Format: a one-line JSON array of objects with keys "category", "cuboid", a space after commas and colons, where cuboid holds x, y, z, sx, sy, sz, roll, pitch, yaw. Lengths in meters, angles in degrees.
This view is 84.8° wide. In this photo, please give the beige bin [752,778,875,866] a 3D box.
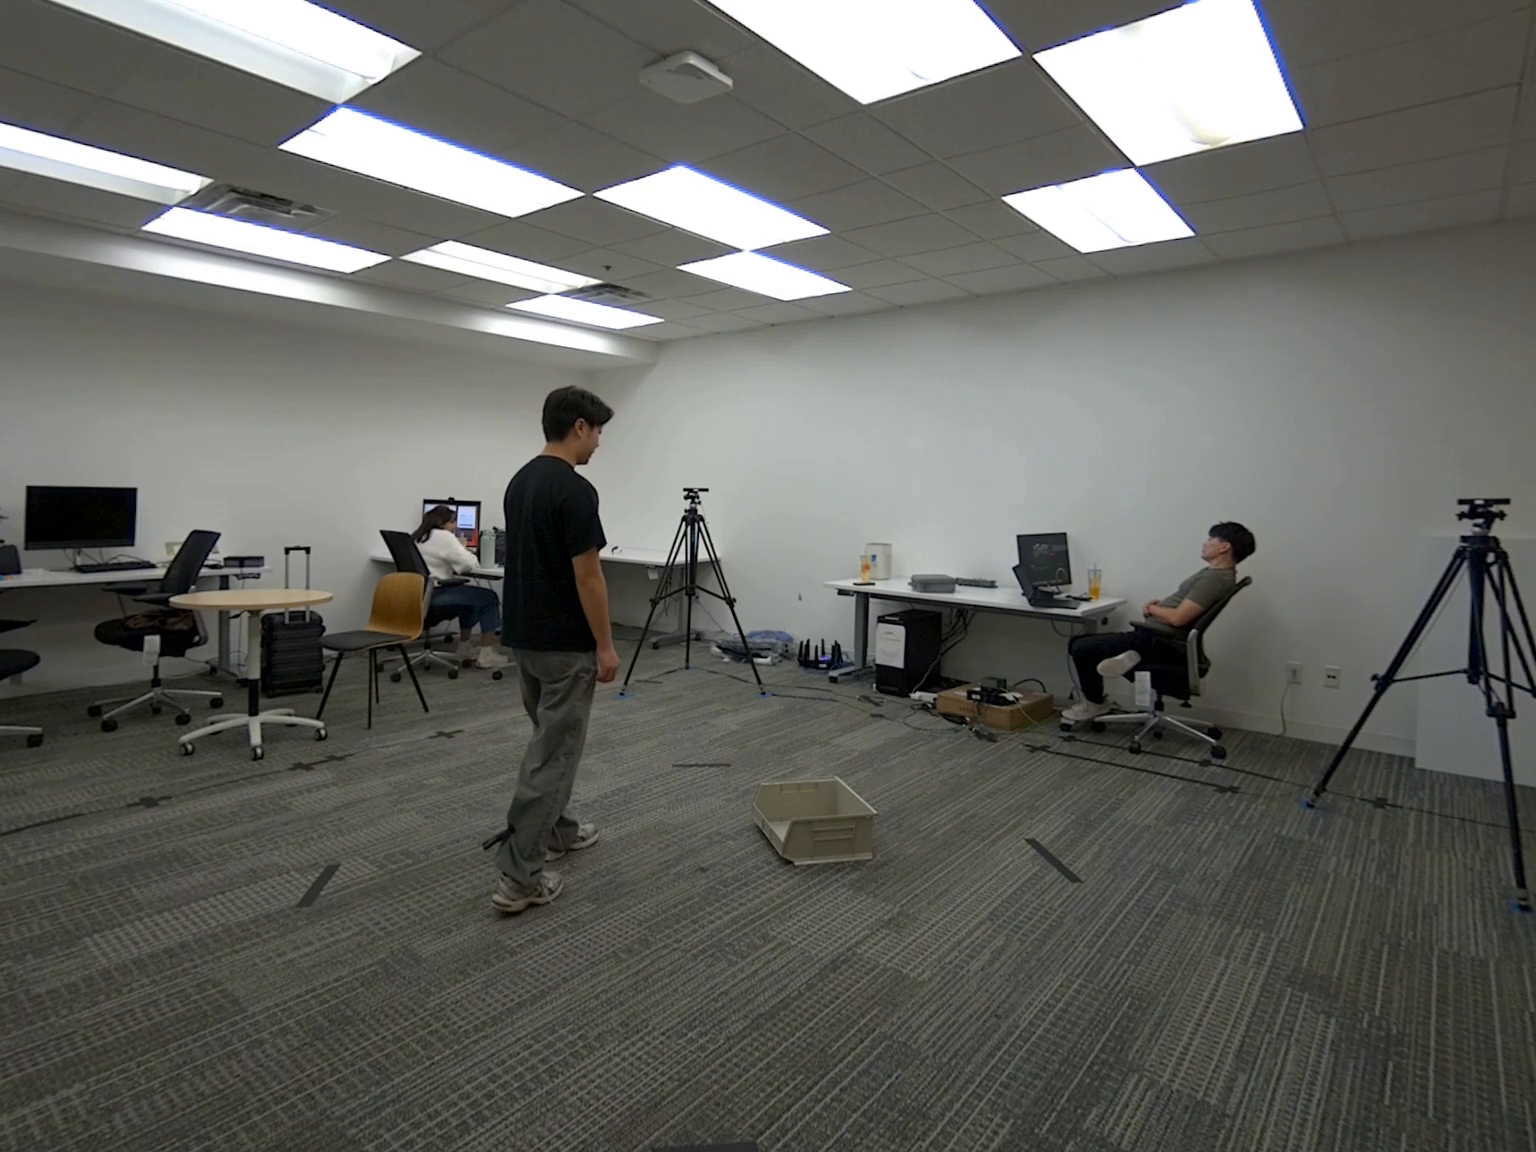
[{"category": "beige bin", "cuboid": [0.166, 0.960, 3.380, 0.371, 0.188, 0.431, -1, 5, -16]}]
